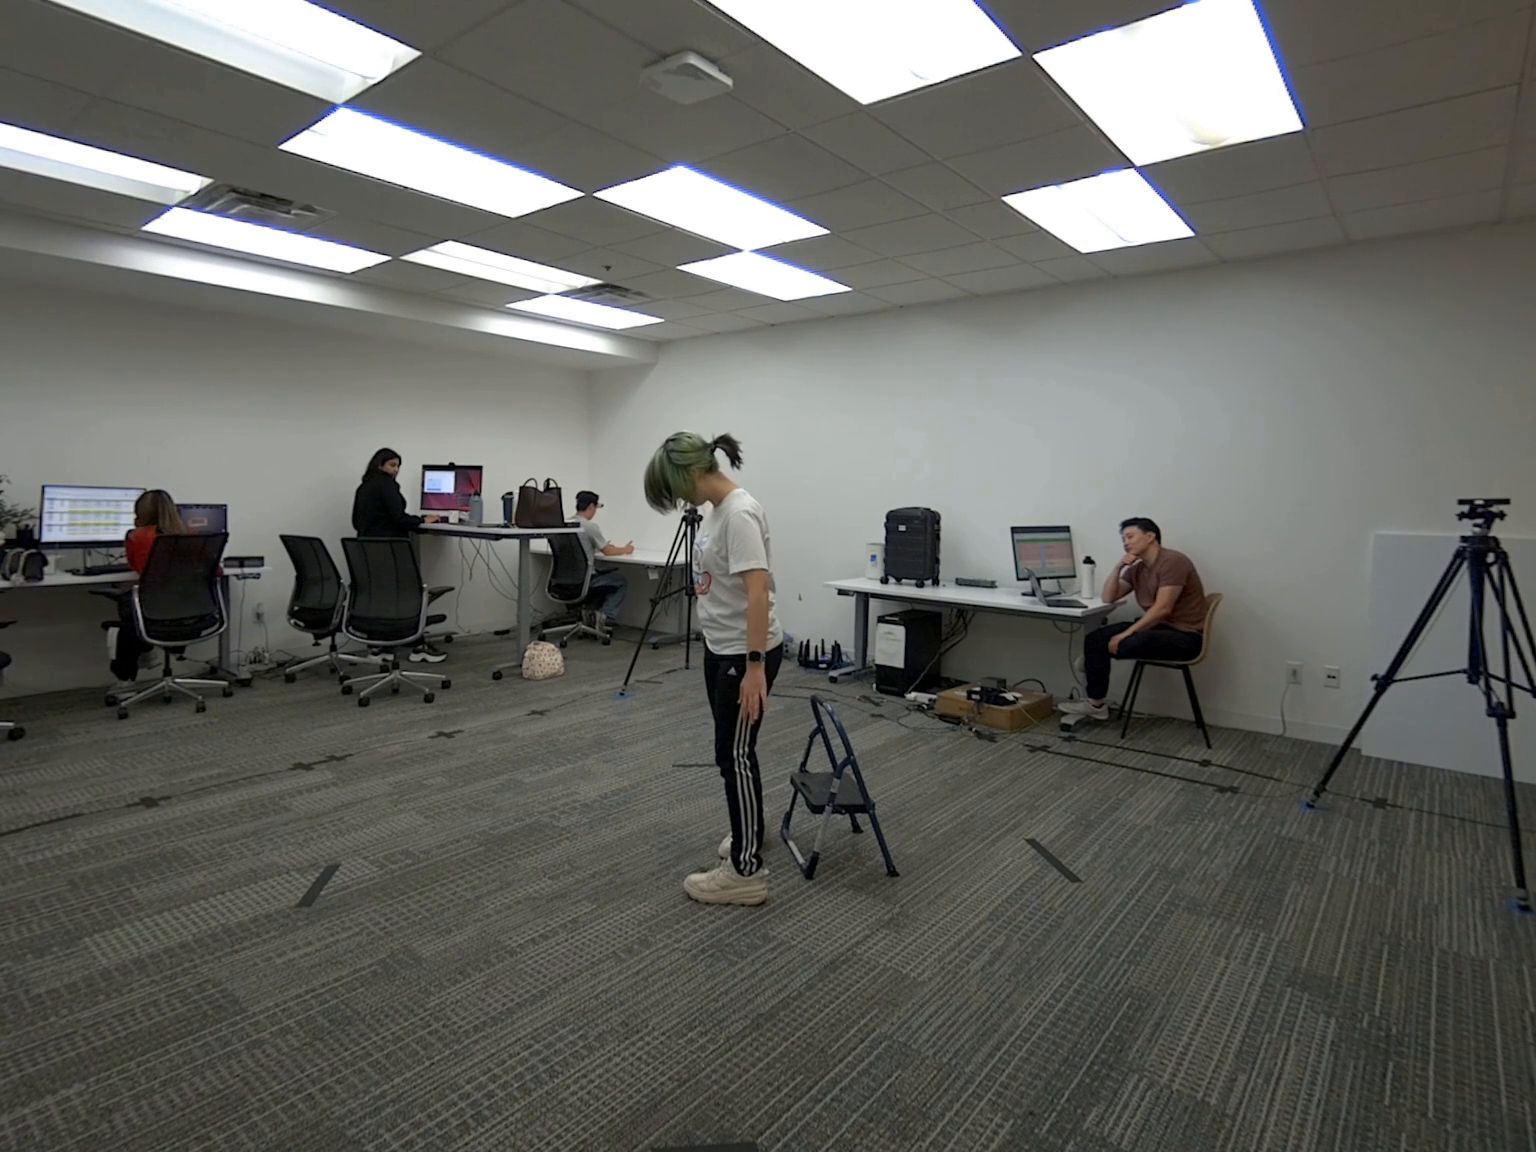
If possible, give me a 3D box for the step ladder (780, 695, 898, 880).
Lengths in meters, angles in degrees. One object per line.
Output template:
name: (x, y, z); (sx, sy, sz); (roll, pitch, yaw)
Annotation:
step ladder: (0.260, 0.766, 3.254); (0.345, 0.604, 0.438); (1, 3, -13)
